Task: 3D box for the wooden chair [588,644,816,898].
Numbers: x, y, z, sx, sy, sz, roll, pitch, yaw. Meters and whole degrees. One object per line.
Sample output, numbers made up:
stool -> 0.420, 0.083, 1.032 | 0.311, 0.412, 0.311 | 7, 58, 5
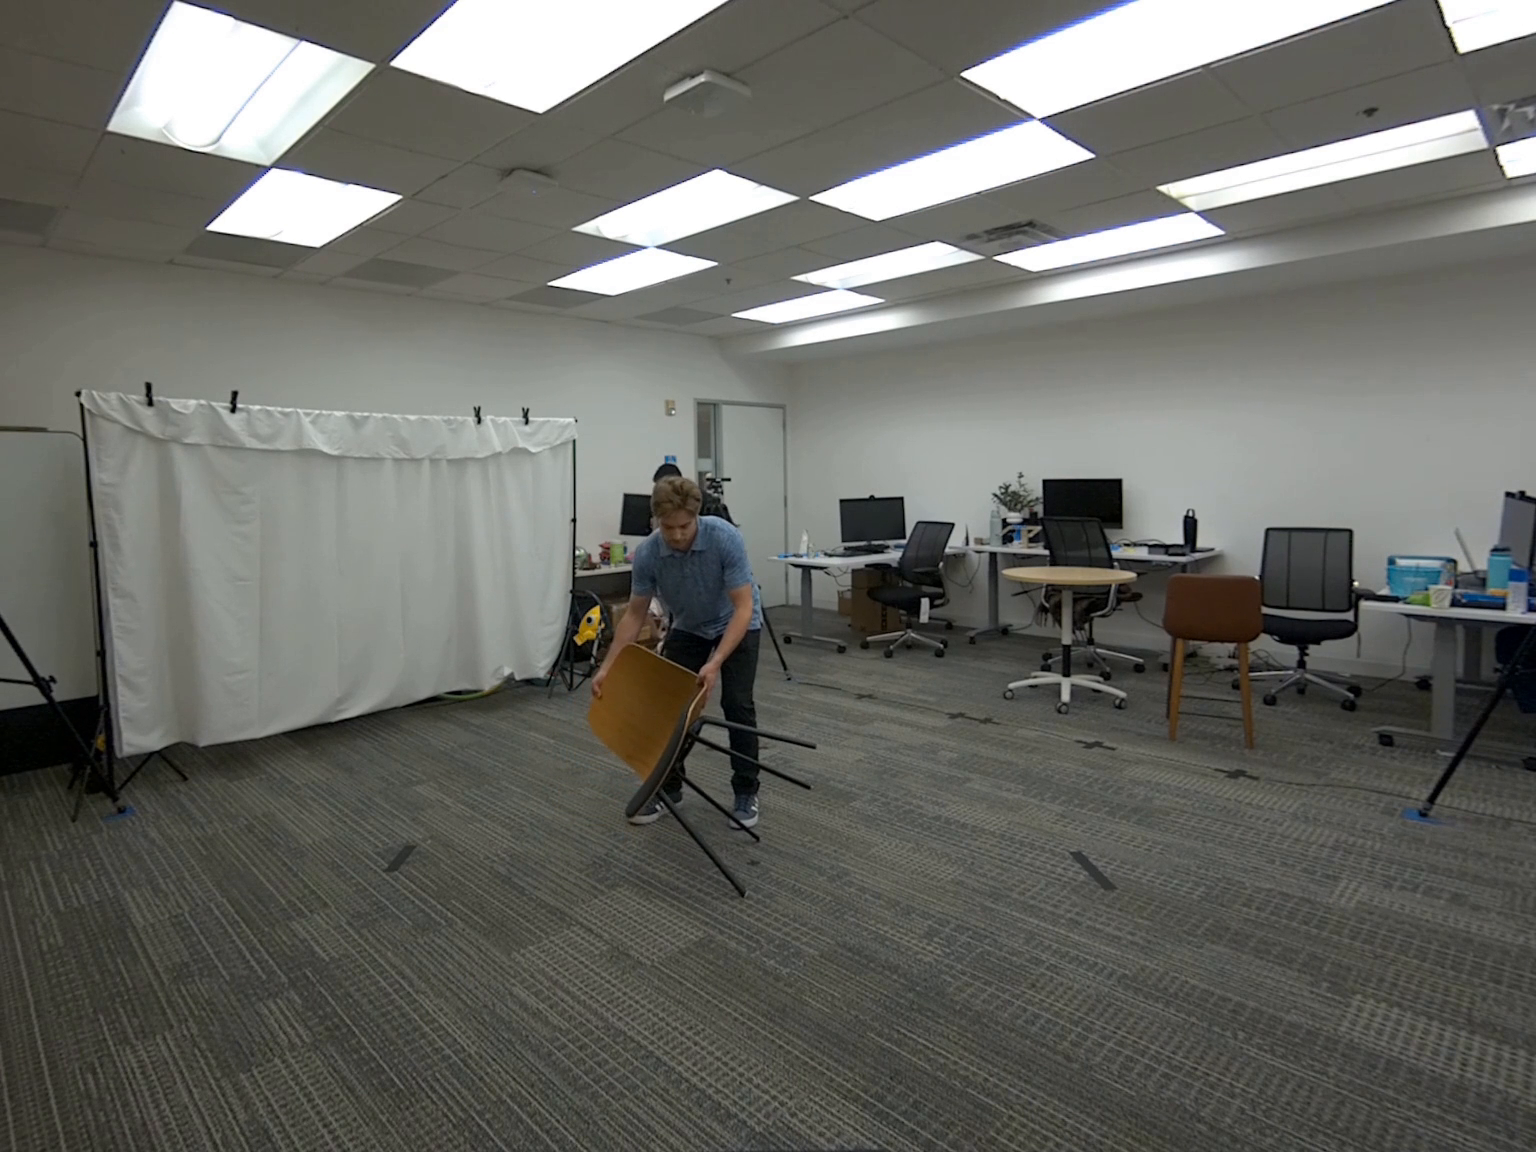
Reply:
wooden chair -> -0.312, 0.647, 3.077 | 0.889, 0.477, 0.518 | 31, 9, 9
